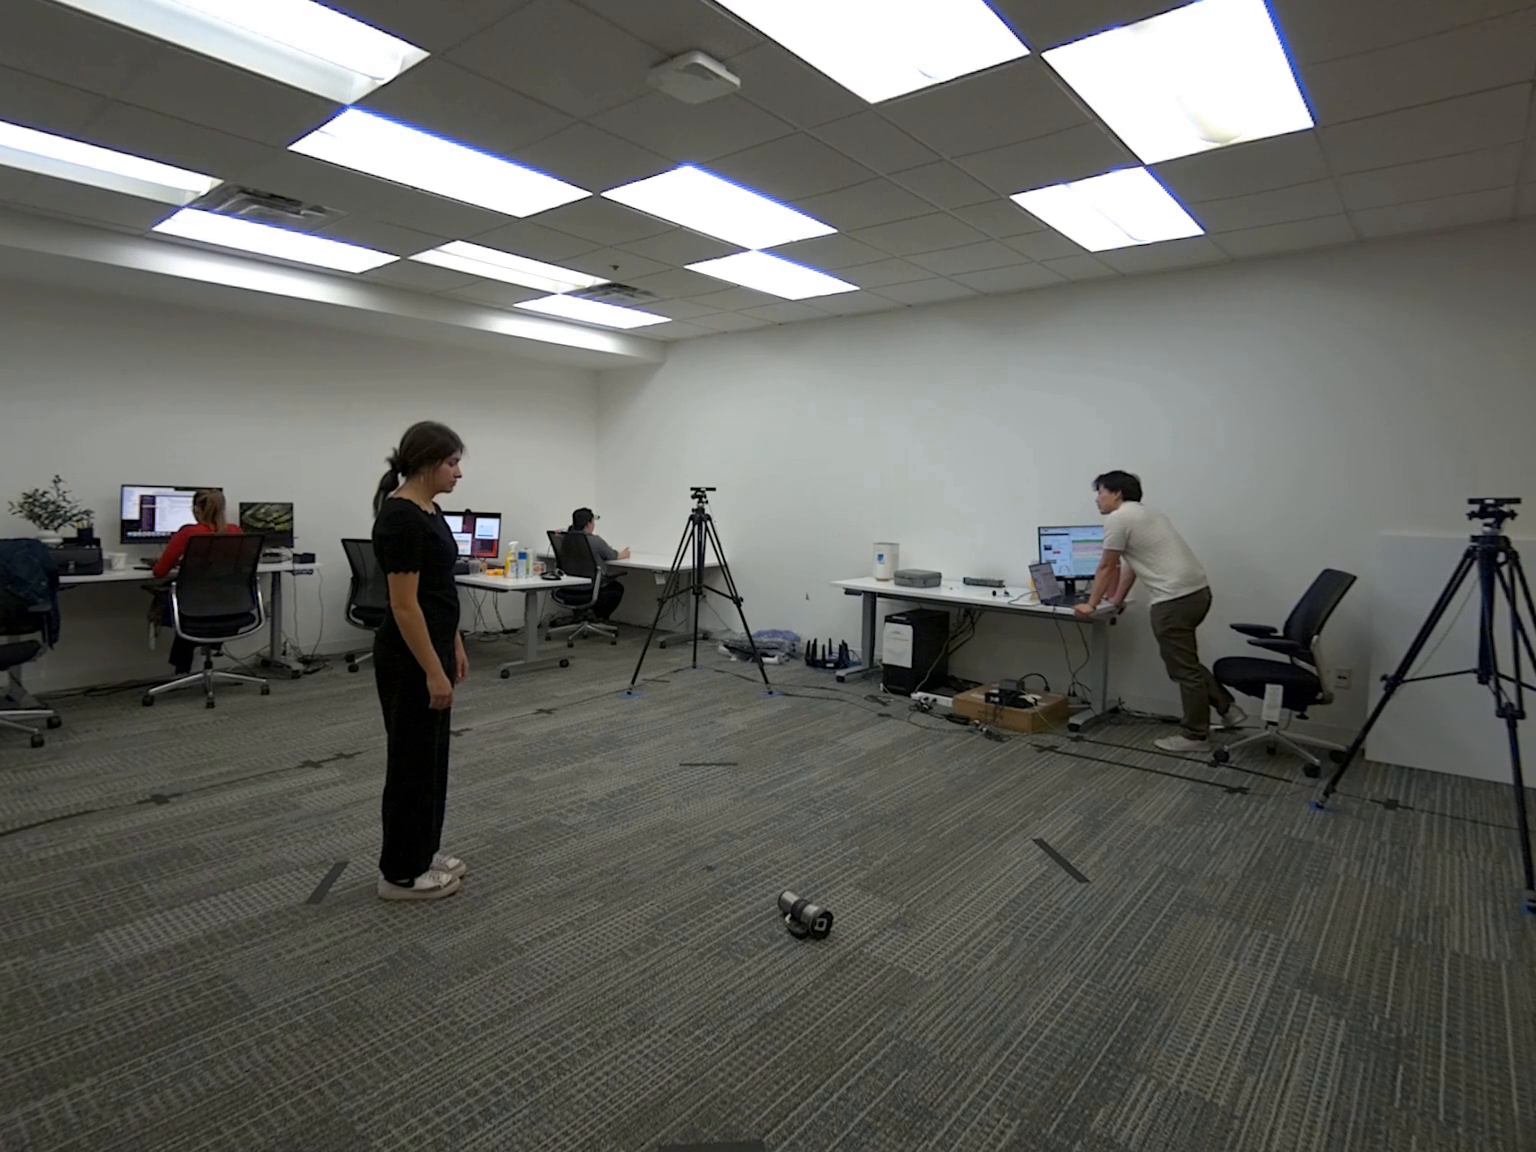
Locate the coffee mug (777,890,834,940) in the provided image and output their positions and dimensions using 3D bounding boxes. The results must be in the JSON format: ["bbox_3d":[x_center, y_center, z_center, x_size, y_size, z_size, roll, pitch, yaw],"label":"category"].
[{"bbox_3d":[0.096,1.066,2.705,0.118,0.088,0.209,12,-4,-36],"label":"coffee mug"}]
